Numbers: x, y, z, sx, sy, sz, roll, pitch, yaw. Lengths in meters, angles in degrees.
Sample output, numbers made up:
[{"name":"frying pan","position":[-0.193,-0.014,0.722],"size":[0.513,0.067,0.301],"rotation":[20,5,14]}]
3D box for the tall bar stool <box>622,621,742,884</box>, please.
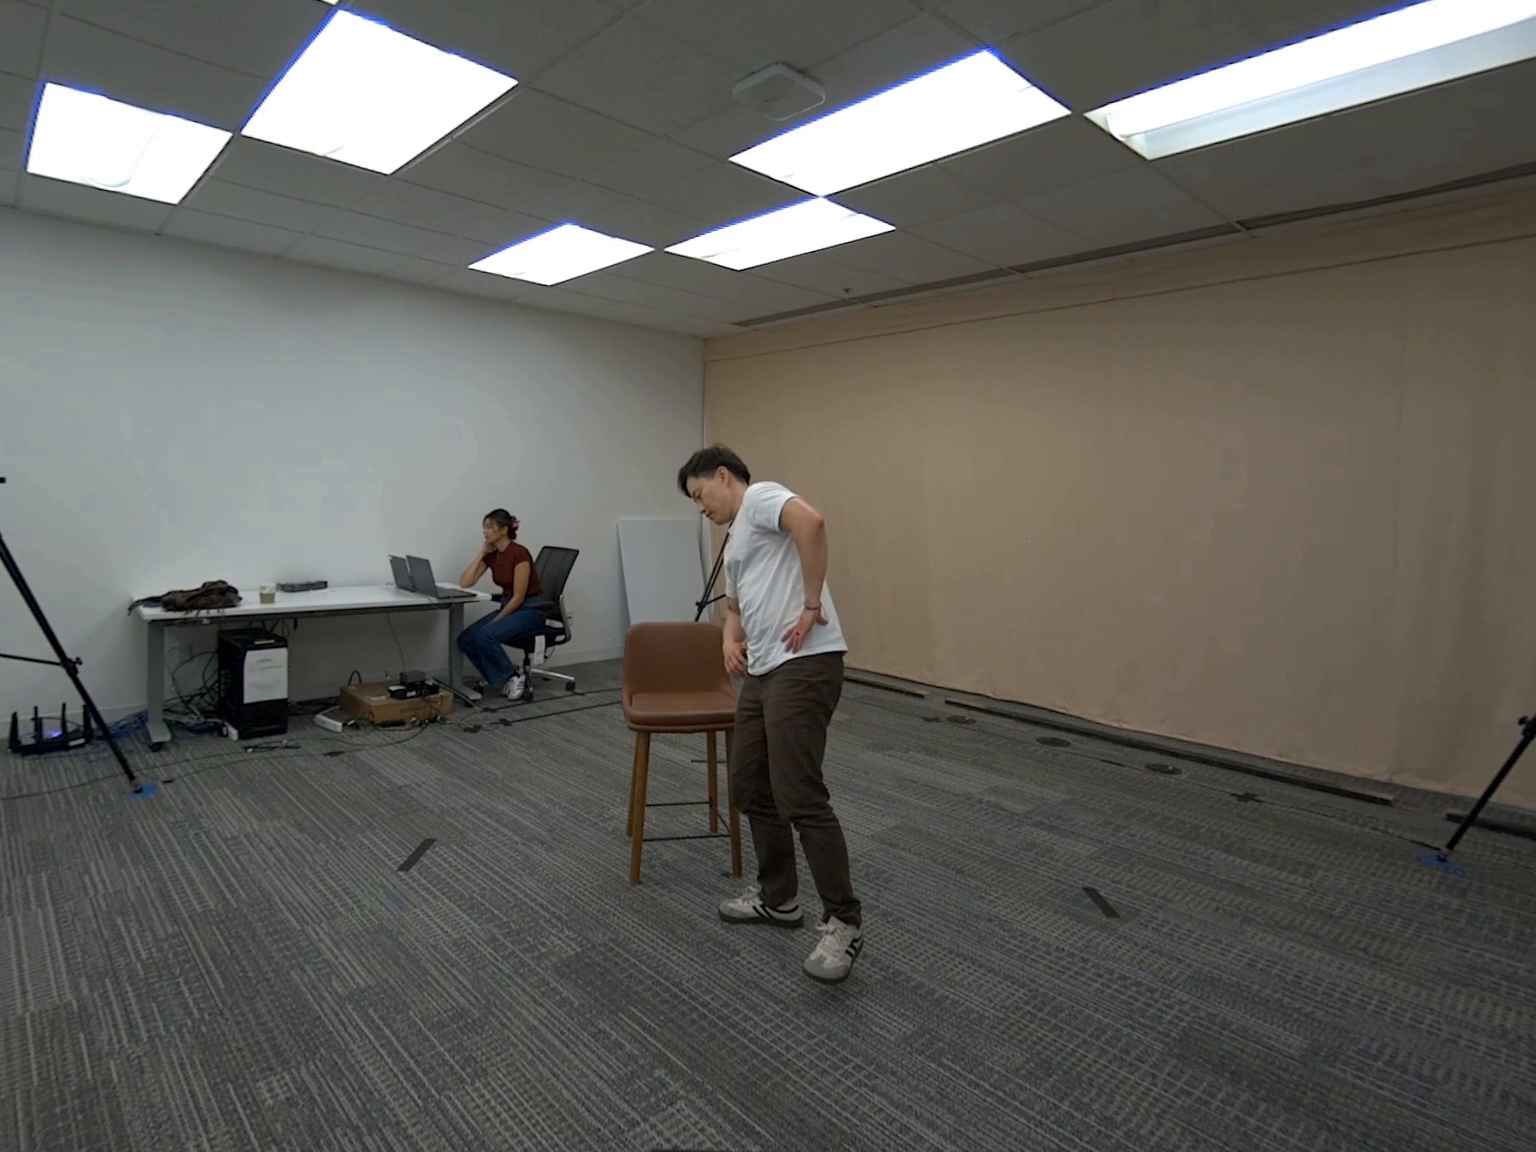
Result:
[{"name":"tall bar stool","position":[-0.342,0.648,3.242],"size":[0.452,0.888,0.473],"rotation":[0,2,-12]}]
